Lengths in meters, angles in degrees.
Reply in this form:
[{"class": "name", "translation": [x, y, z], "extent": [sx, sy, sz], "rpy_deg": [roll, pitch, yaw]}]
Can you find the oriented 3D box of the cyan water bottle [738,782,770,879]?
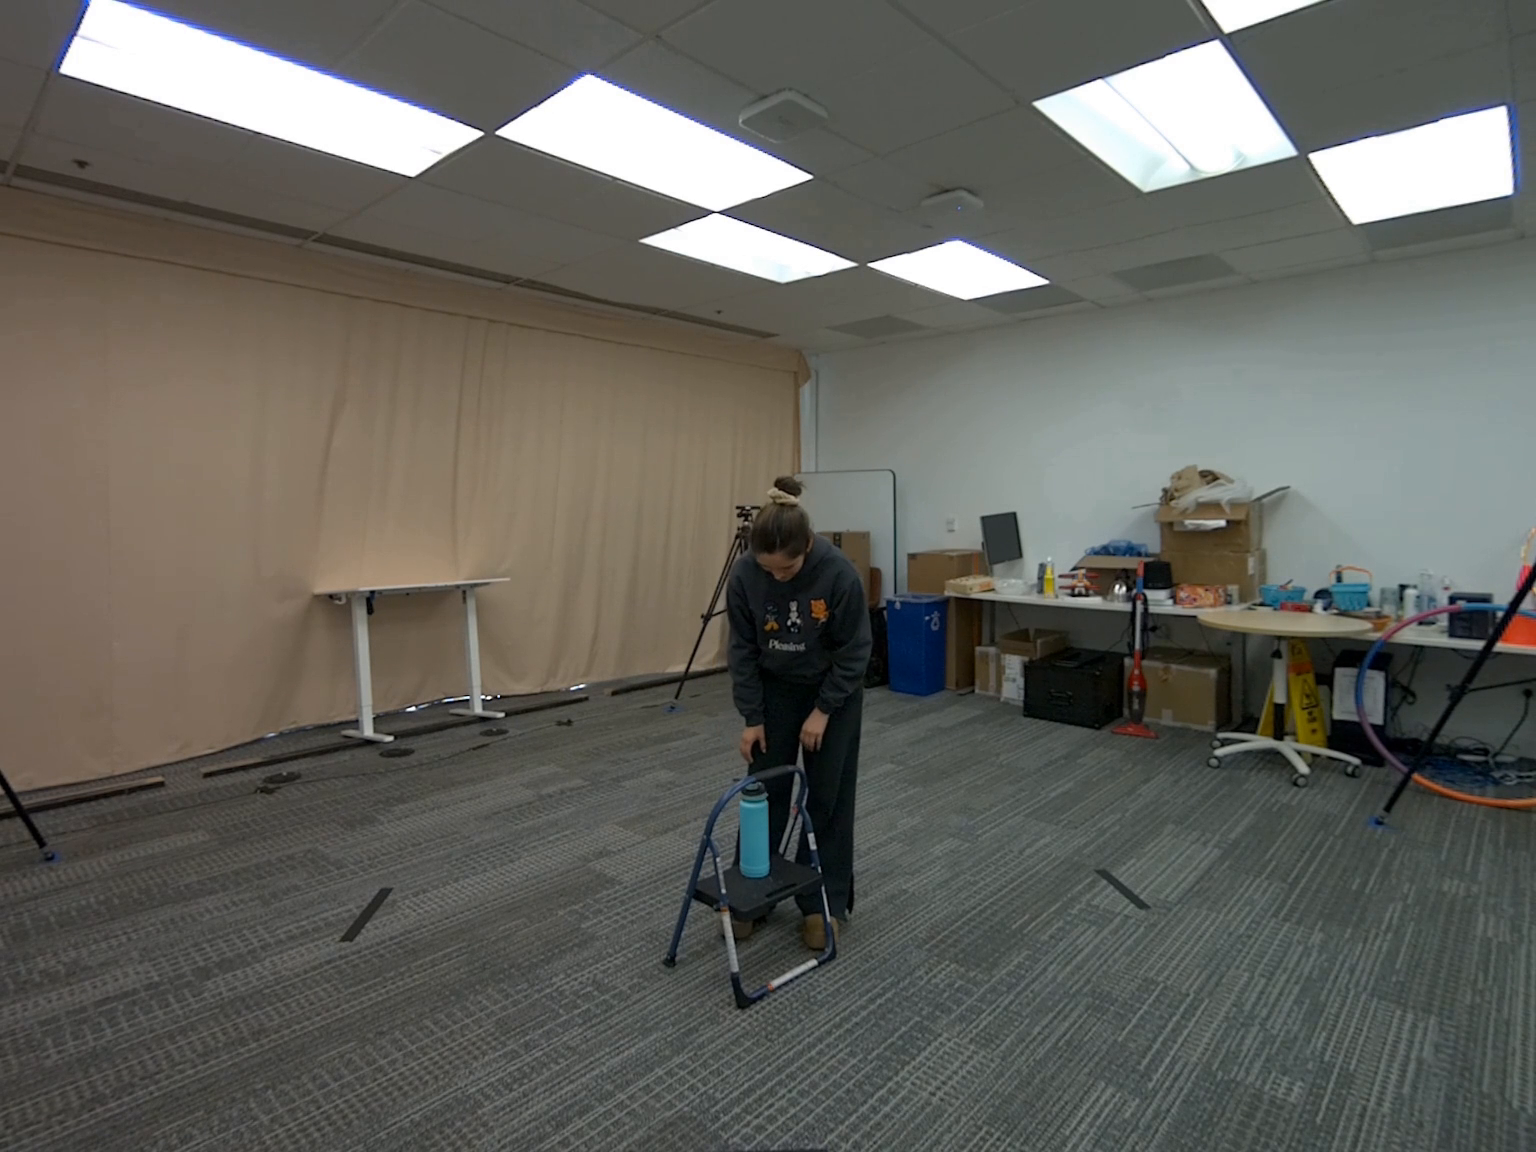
[{"class": "cyan water bottle", "translation": [-0.029, 0.775, 2.602], "extent": [0.092, 0.283, 0.092], "rpy_deg": [-5, 0, -2]}]
